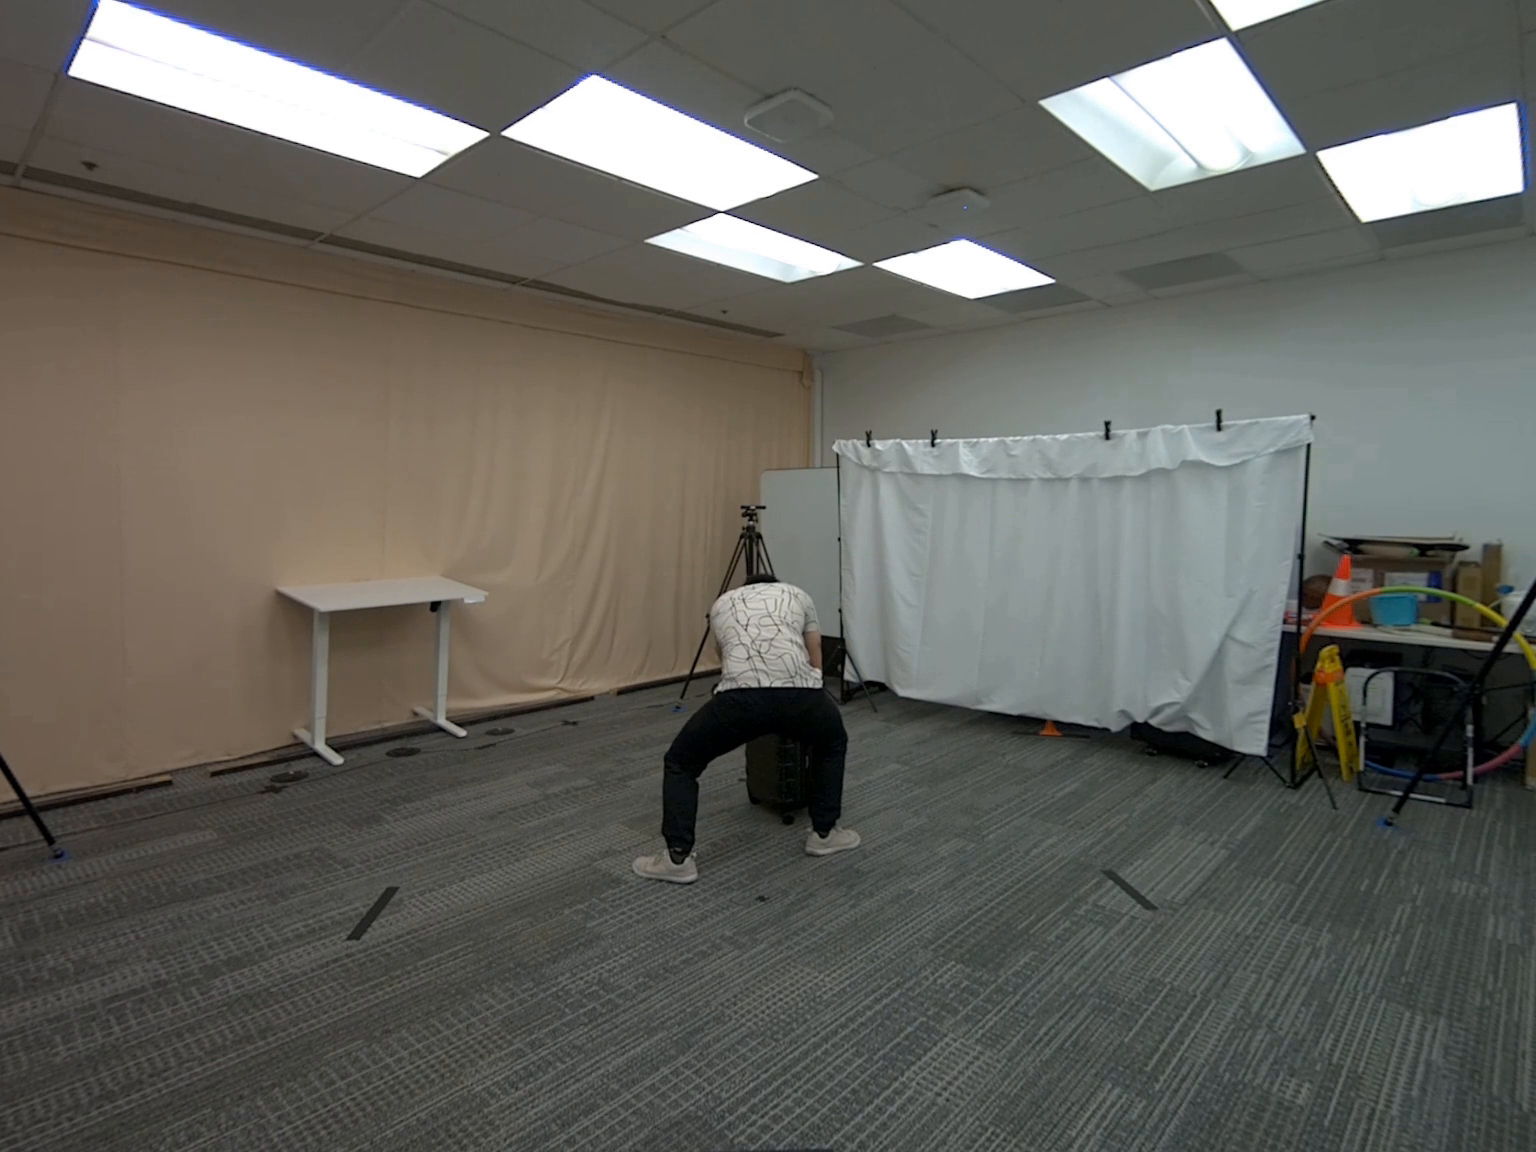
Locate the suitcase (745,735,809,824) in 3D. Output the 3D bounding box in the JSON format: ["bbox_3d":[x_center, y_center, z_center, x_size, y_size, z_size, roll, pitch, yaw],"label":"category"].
[{"bbox_3d":[0.072,0.796,3.860,0.242,0.548,0.386,-4,3,-30],"label":"suitcase"}]
